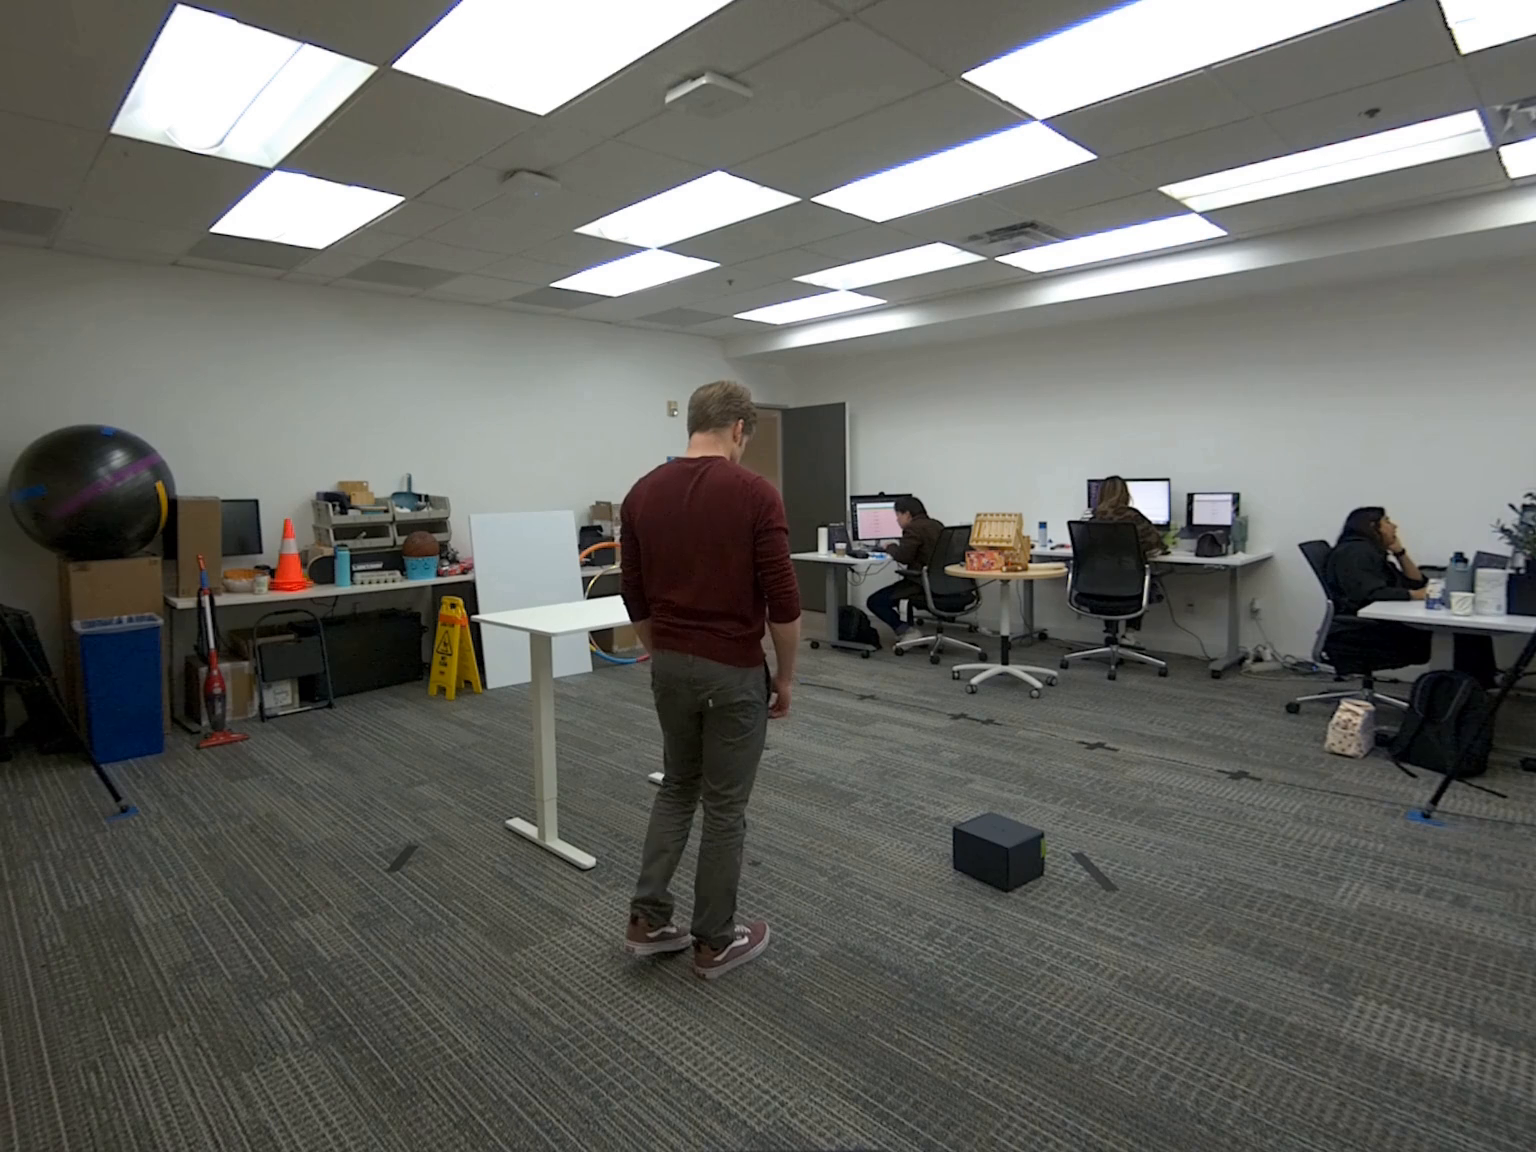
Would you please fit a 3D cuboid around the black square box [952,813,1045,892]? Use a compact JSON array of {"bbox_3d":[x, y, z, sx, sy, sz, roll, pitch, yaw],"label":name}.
[{"bbox_3d":[0.813,0.960,2.998,0.211,0.155,0.235,-5,7,-38],"label":"black square box"}]
